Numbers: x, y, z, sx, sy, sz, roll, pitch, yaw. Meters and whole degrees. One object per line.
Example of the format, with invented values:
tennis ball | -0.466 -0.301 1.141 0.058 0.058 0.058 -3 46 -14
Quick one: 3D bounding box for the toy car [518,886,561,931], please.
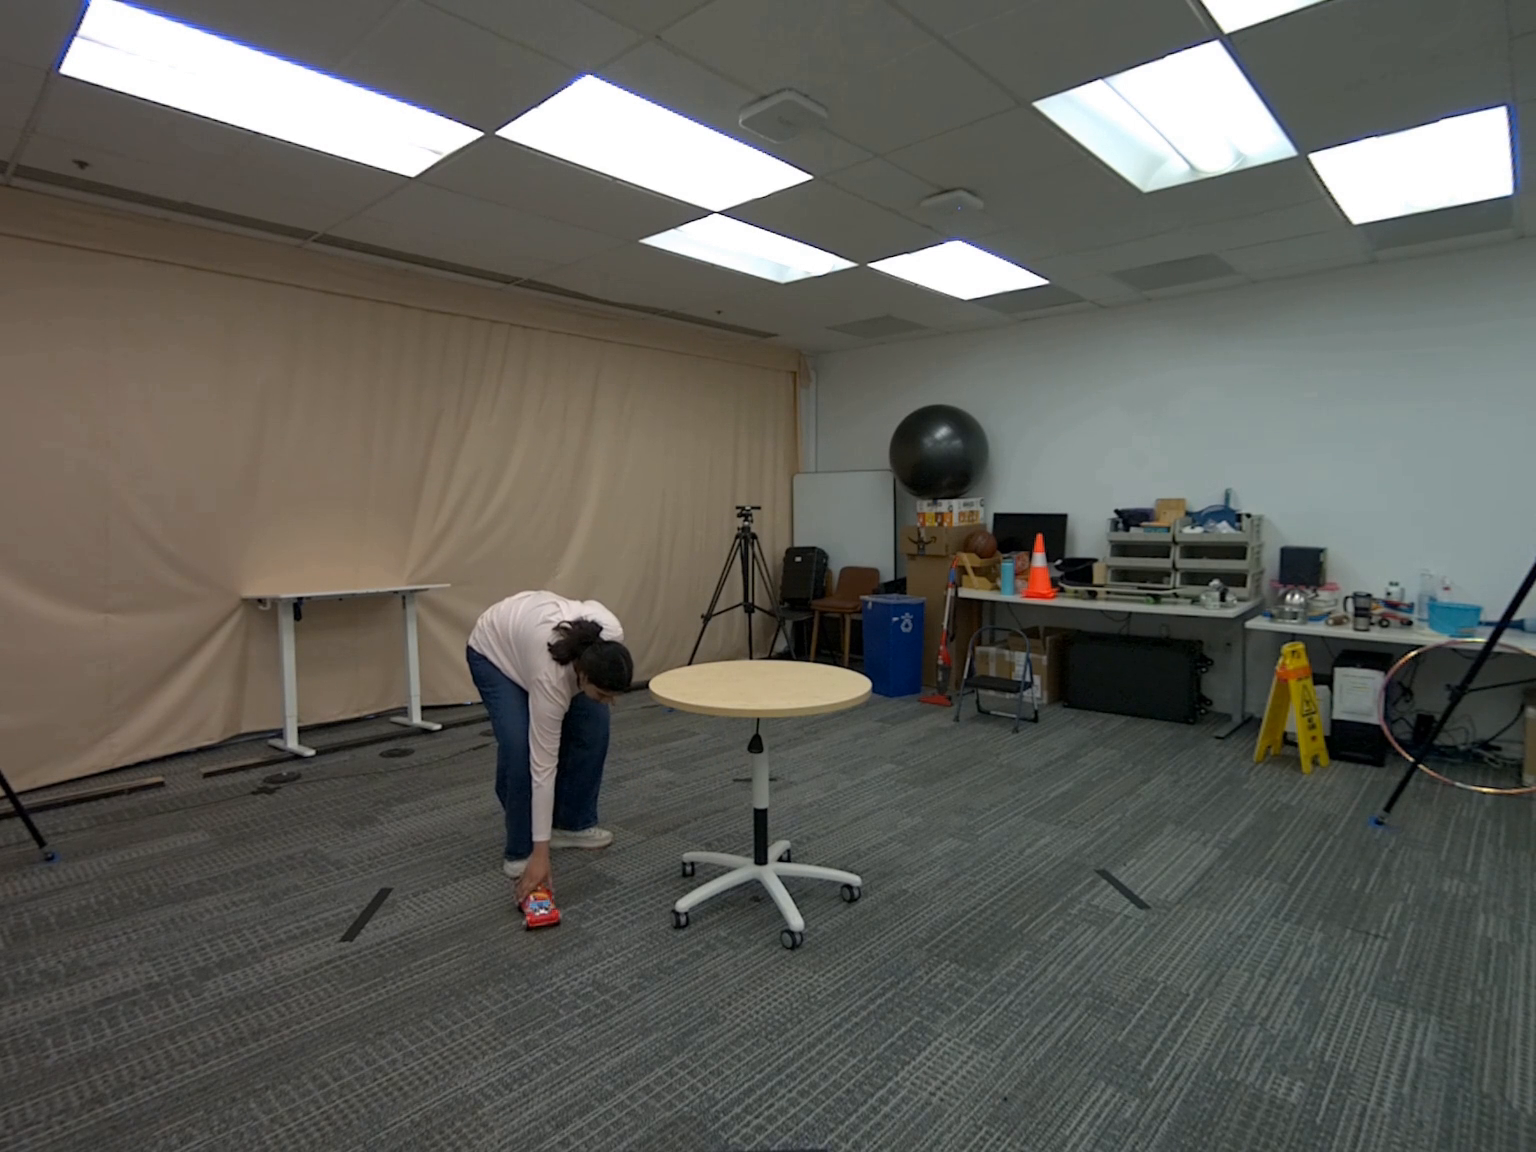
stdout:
toy car | -0.791 1.129 2.882 0.127 0.082 0.262 -3 14 -24
